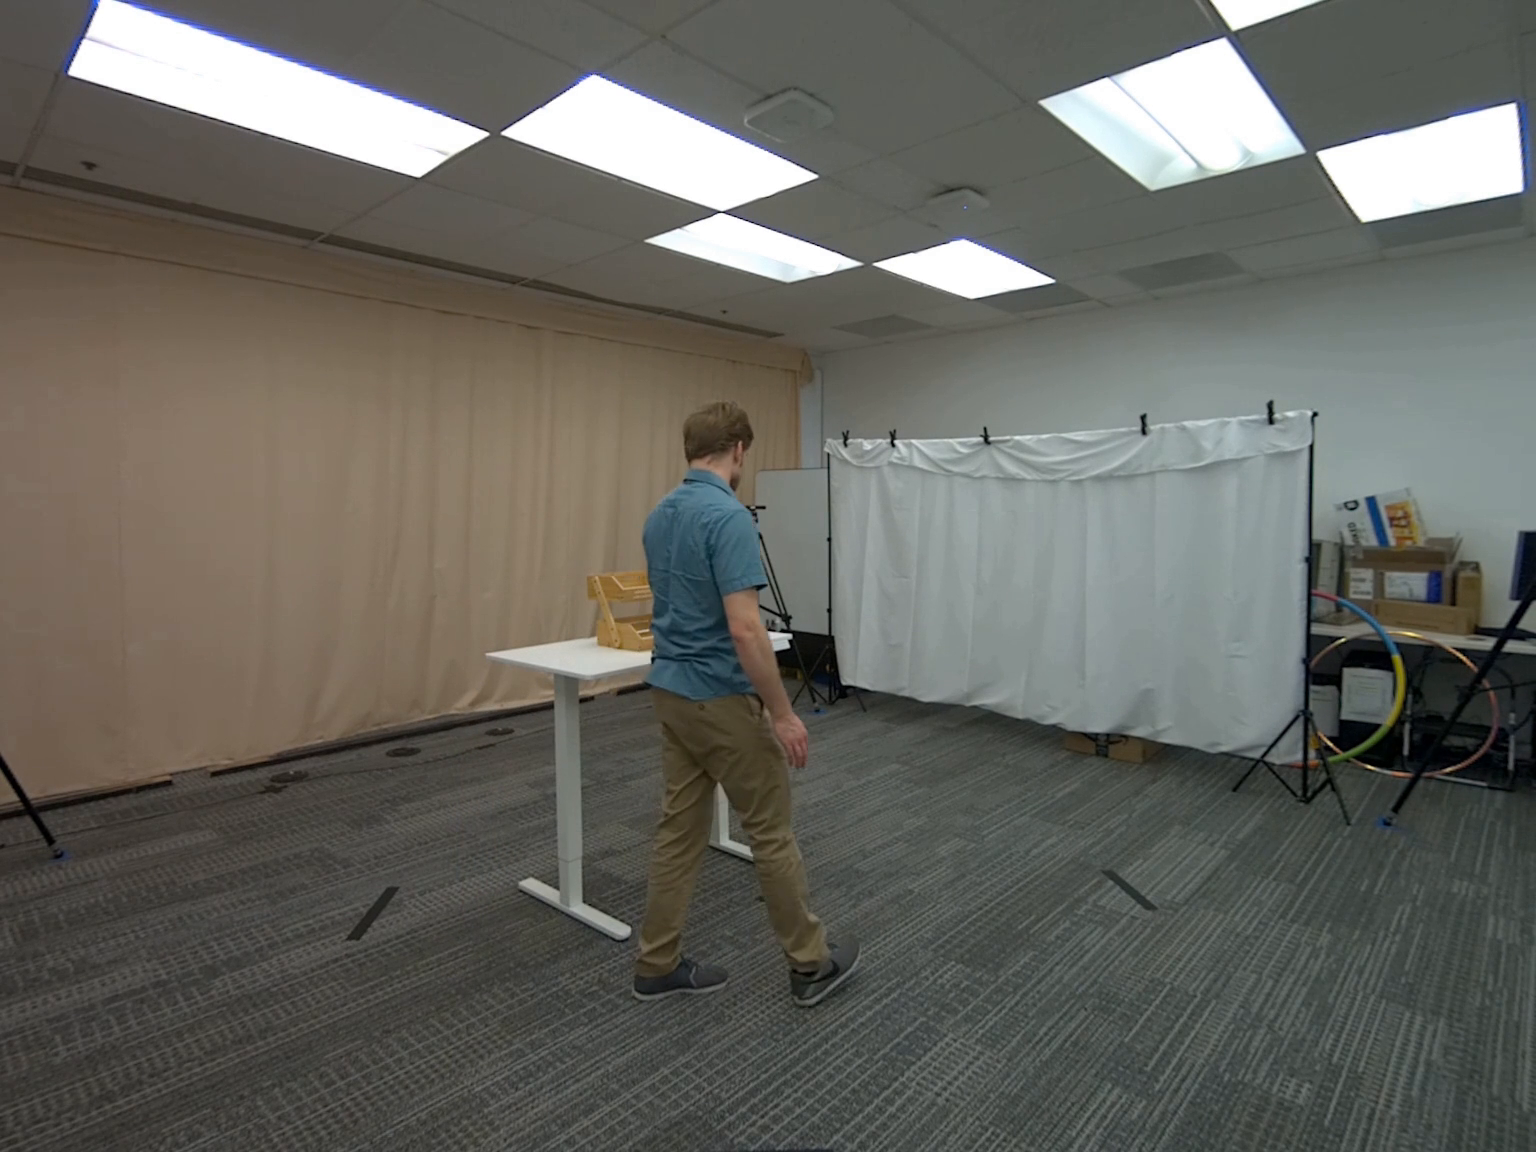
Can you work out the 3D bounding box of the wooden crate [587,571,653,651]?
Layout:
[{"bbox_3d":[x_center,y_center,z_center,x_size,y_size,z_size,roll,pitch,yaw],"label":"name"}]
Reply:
[{"bbox_3d":[-0.461,0.119,3.153,0.312,0.273,0.314,2,5,42],"label":"wooden crate"}]
